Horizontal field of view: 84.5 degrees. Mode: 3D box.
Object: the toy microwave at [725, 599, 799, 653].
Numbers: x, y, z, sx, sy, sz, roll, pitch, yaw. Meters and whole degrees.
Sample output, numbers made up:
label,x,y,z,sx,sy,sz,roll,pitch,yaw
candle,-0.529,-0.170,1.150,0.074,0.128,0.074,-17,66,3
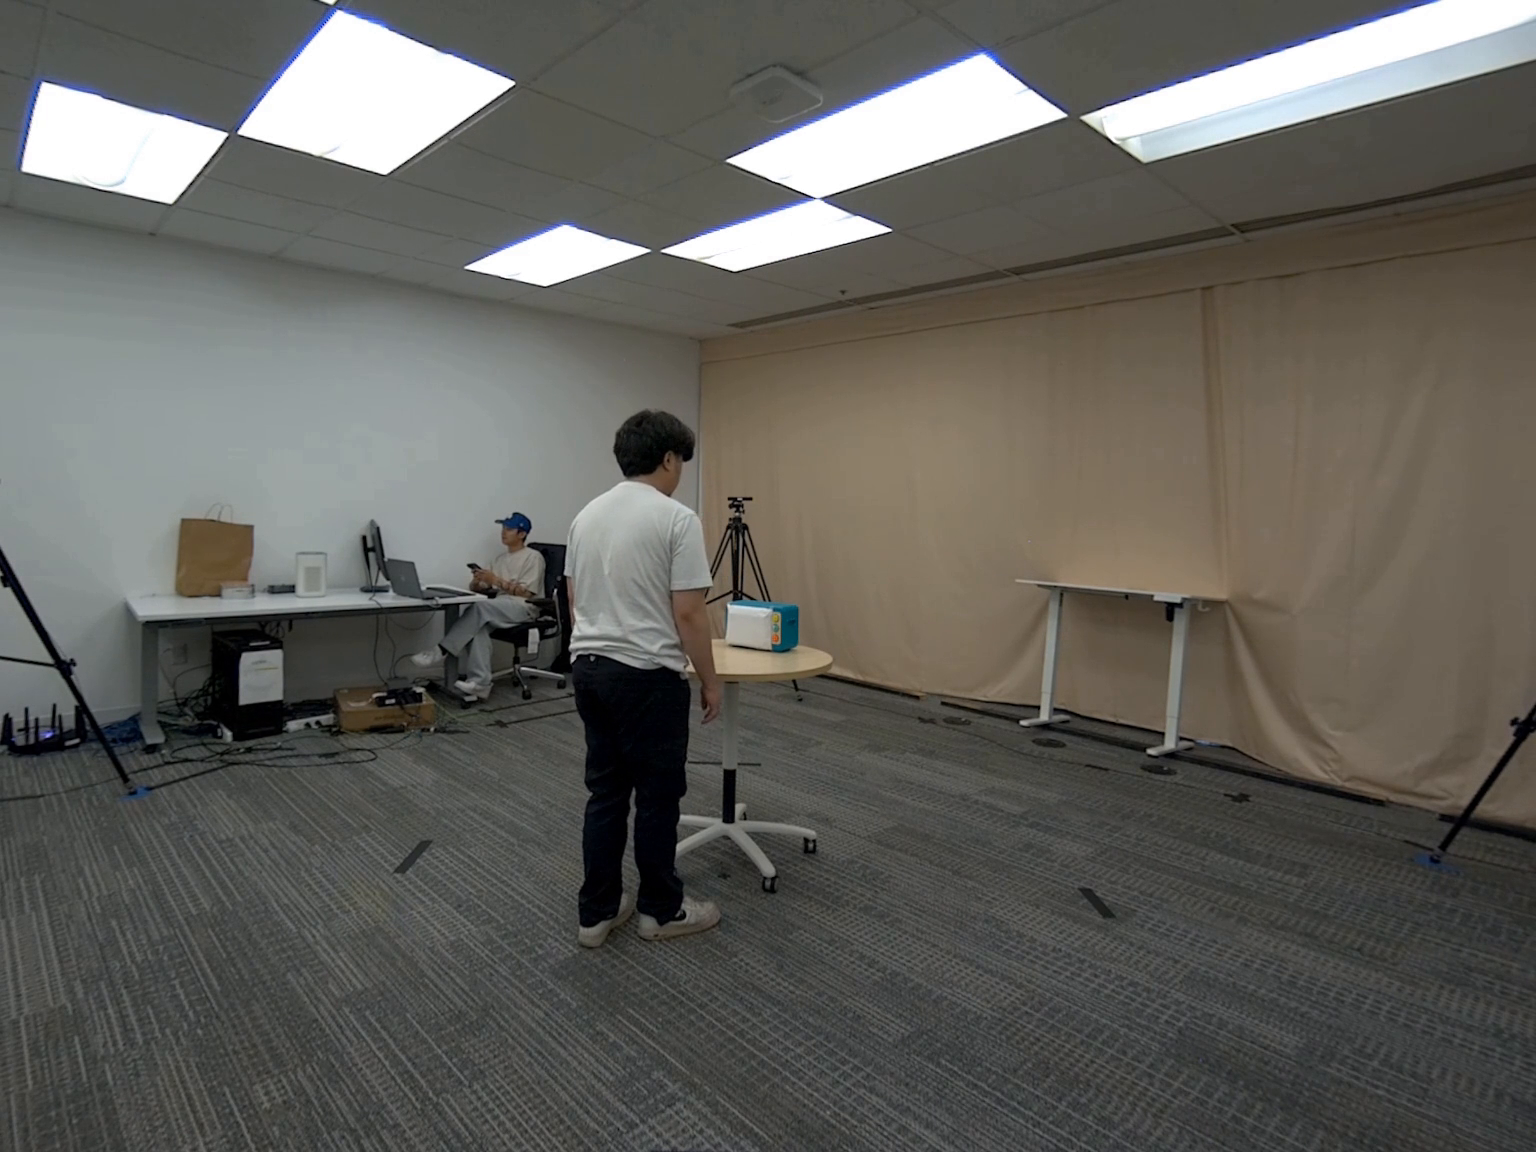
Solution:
label,x,y,z,sx,sy,sz,roll,pitch,yaw
toy microwave,-0.038,0.201,3.401,0.293,0.184,0.149,4,4,33
